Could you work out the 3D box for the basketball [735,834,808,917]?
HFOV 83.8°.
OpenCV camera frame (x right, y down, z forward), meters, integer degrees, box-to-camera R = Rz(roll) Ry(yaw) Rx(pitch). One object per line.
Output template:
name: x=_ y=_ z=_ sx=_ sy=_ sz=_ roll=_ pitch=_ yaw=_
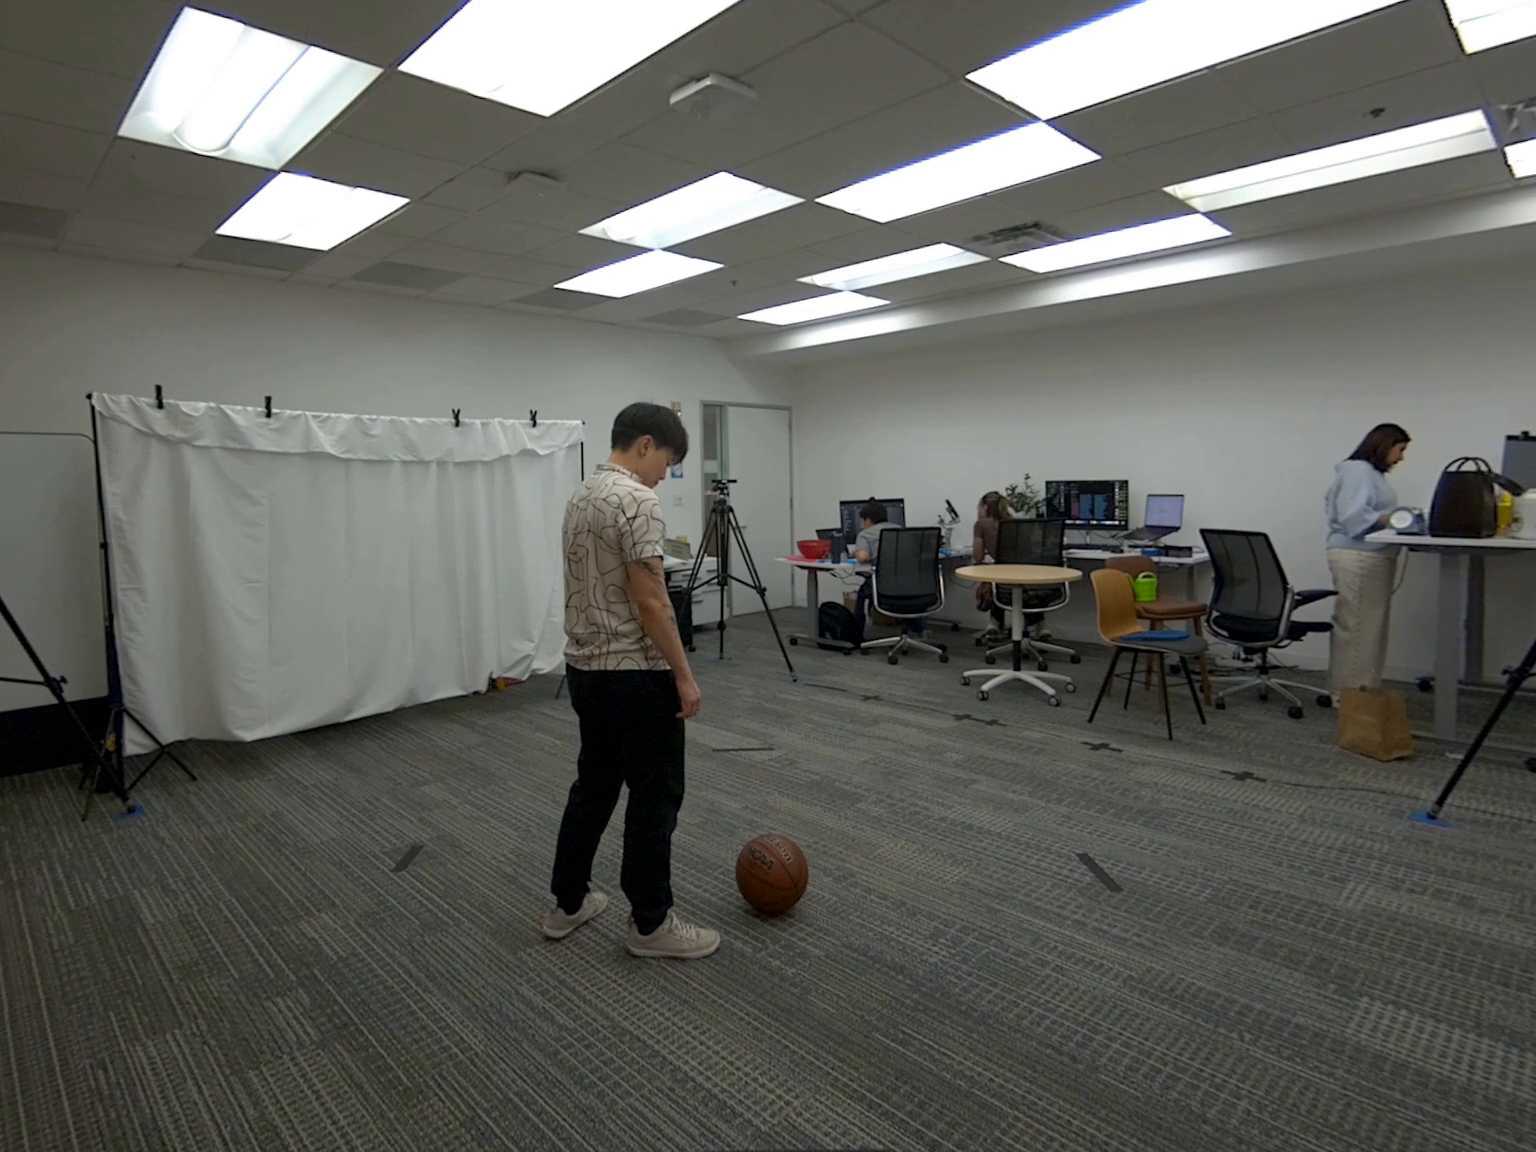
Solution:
basketball: x=0.015 y=0.963 z=2.777 sx=0.236 sy=0.235 sz=0.237 roll=-1 pitch=5 yaw=-2
